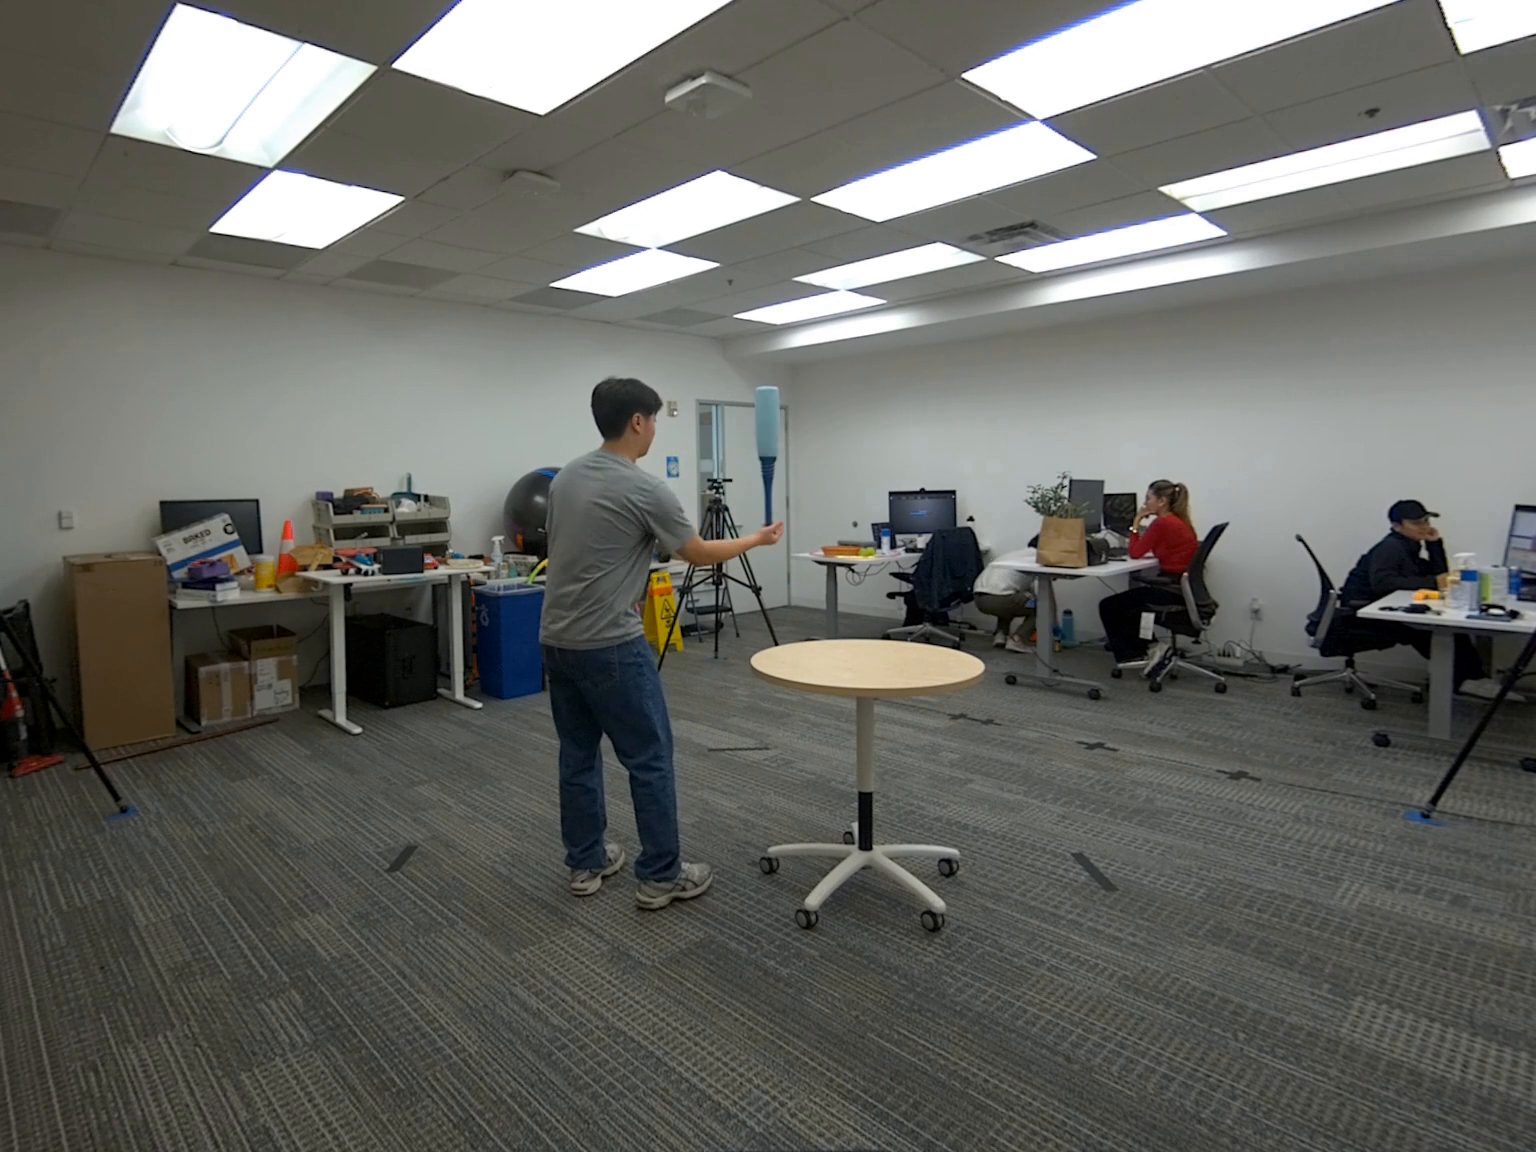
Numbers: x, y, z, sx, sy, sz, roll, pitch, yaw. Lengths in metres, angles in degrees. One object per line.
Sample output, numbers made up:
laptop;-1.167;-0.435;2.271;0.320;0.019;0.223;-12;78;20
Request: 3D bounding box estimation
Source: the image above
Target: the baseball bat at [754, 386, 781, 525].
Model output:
baseball bat;0.000;-0.424;3.116;0.089;0.539;0.090;0;7;-2
